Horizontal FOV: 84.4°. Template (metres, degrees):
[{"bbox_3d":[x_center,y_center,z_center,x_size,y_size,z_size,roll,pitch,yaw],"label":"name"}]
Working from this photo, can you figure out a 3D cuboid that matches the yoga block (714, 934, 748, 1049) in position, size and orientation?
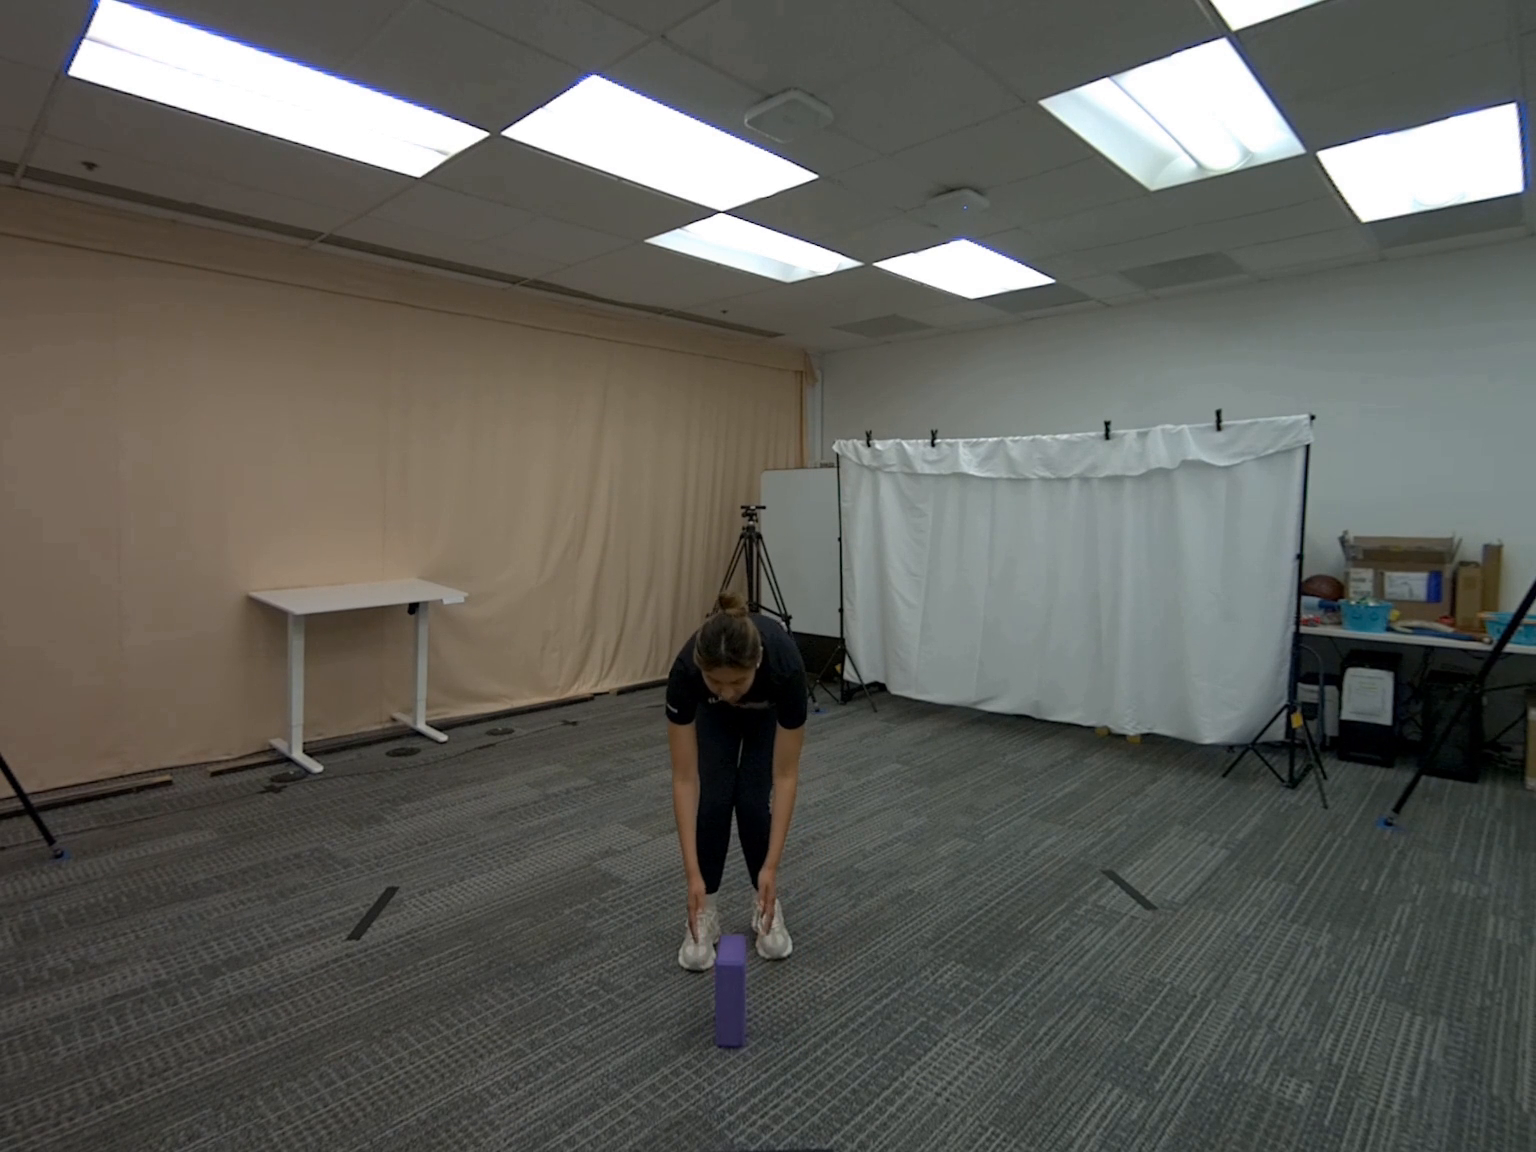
[{"bbox_3d":[-0.097,1.095,2.225,0.077,0.229,0.148,1,2,3],"label":"yoga block"}]
